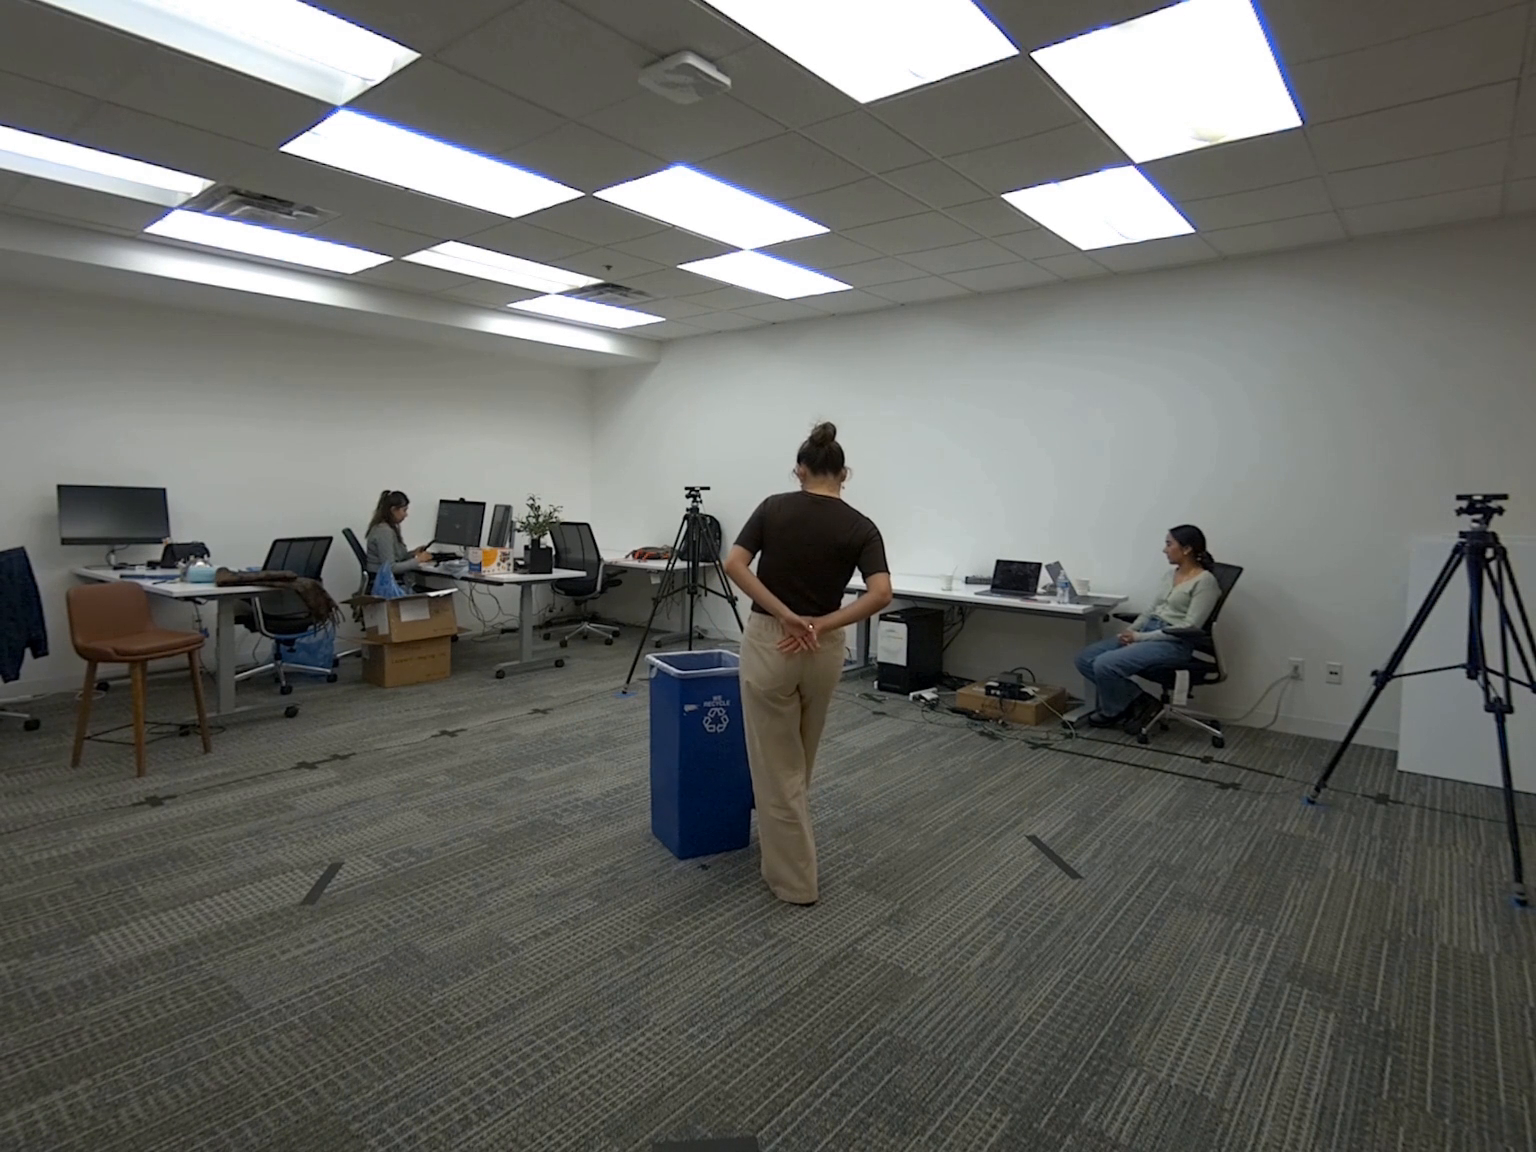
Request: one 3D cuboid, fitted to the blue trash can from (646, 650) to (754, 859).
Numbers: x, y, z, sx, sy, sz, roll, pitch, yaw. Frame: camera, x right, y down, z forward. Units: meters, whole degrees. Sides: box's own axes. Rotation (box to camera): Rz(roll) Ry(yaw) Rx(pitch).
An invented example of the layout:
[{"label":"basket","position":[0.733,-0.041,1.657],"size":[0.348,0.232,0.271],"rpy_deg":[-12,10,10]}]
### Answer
[{"label":"blue trash can","position":[-0.269,0.681,3.348],"size":[0.368,0.712,0.385],"rpy_deg":[-1,4,-28]}]
